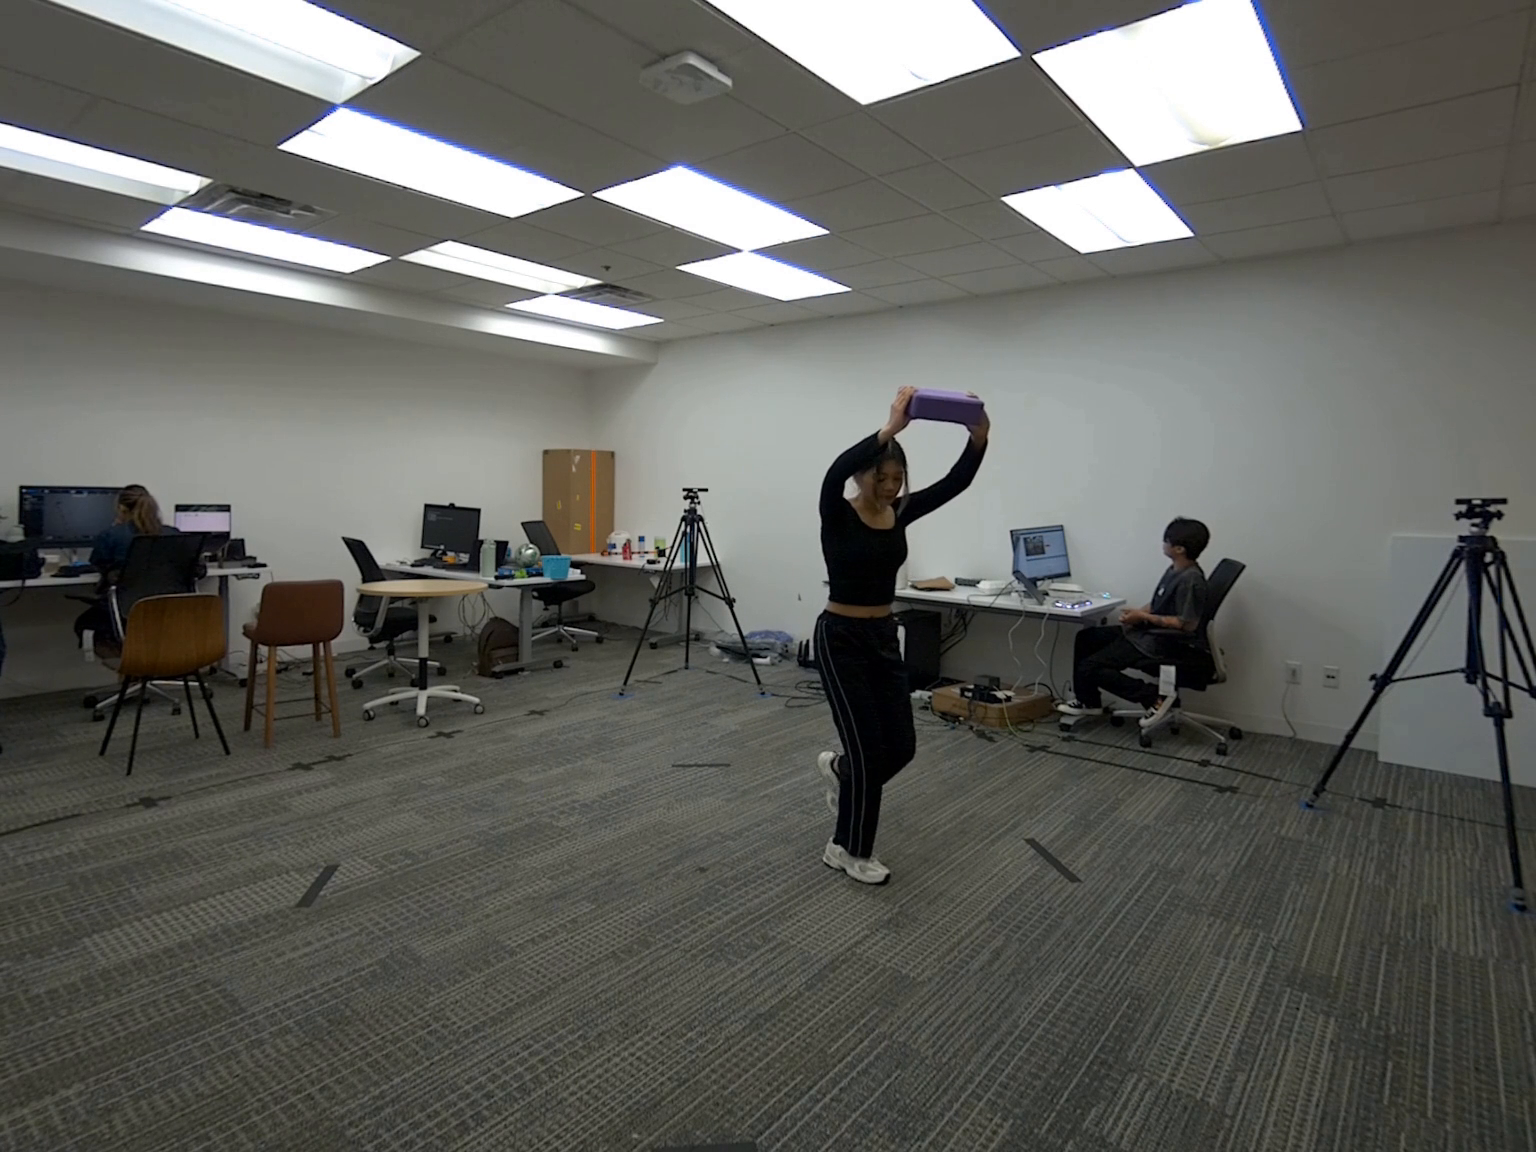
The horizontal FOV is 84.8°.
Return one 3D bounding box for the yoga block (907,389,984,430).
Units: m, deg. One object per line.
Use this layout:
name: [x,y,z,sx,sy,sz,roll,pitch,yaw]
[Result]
yoga block: [0.533,-0.532,2.650,0.226,0.075,0.153,4,22,-14]
